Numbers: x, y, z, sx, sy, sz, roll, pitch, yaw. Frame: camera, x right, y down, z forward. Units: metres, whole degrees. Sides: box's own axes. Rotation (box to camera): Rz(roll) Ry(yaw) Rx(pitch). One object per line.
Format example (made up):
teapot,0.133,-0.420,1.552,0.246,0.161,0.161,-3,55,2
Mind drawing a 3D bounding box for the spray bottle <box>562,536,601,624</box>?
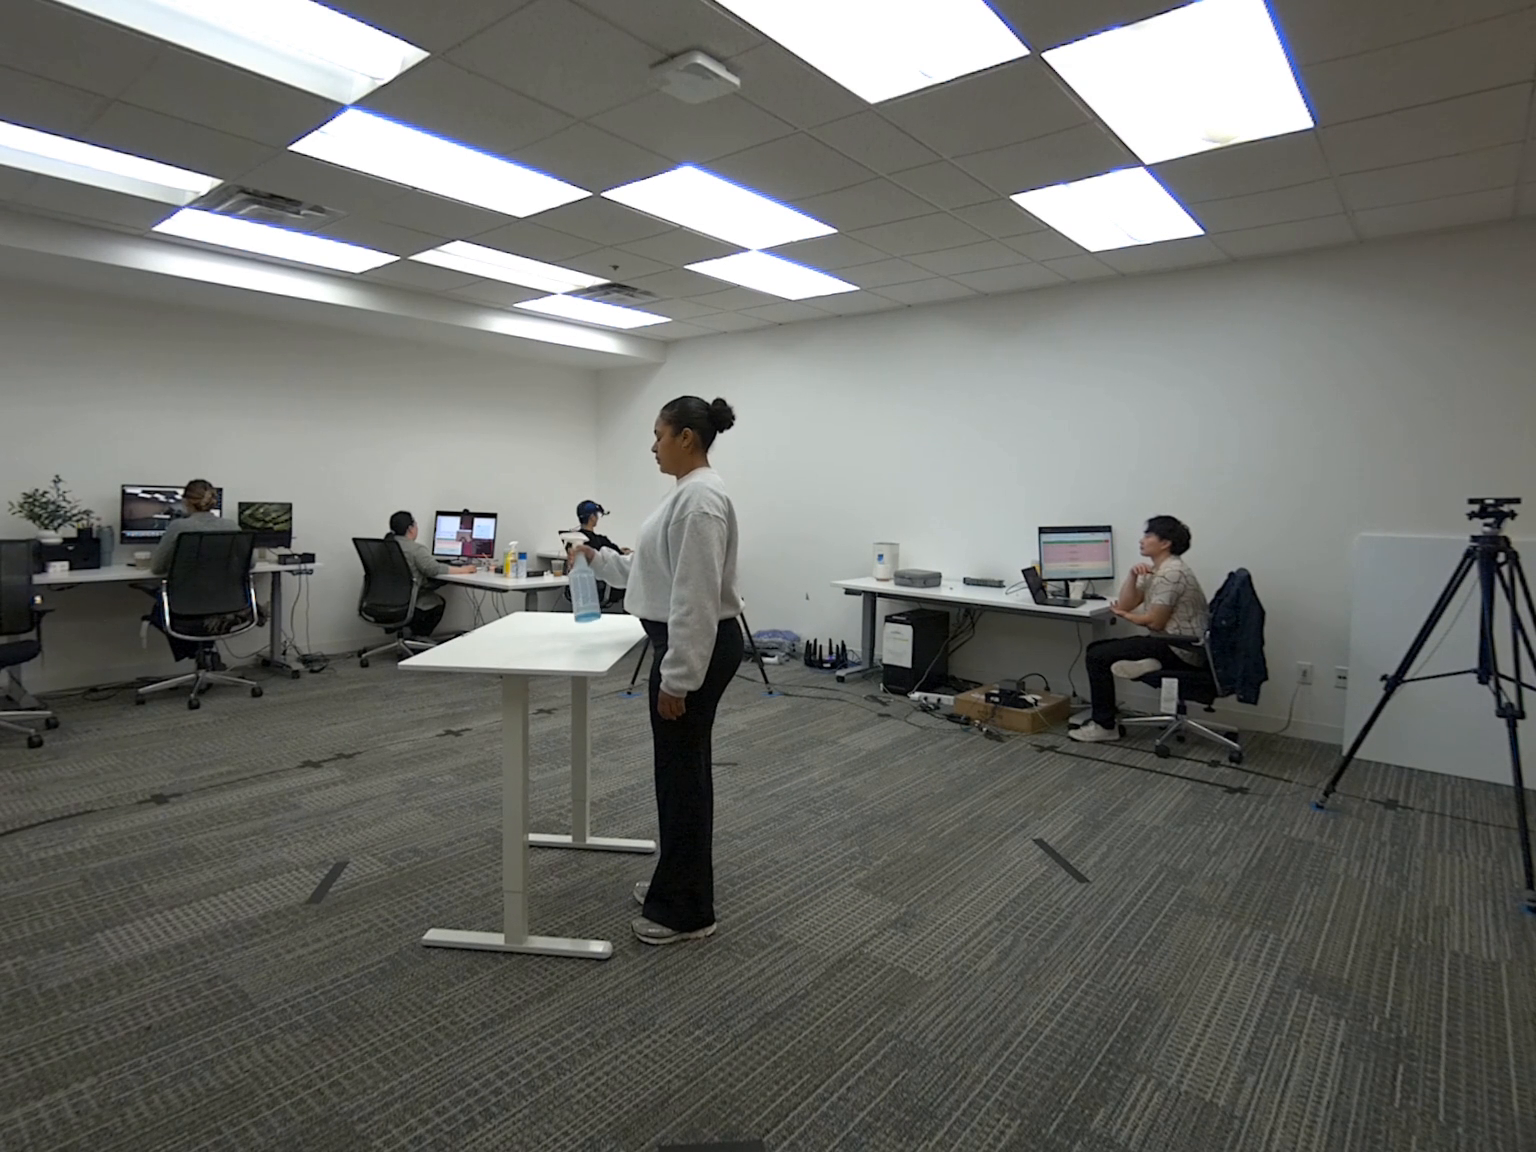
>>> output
spray bottle,-0.616,-0.009,2.777,0.090,0.302,0.085,-10,-14,4
